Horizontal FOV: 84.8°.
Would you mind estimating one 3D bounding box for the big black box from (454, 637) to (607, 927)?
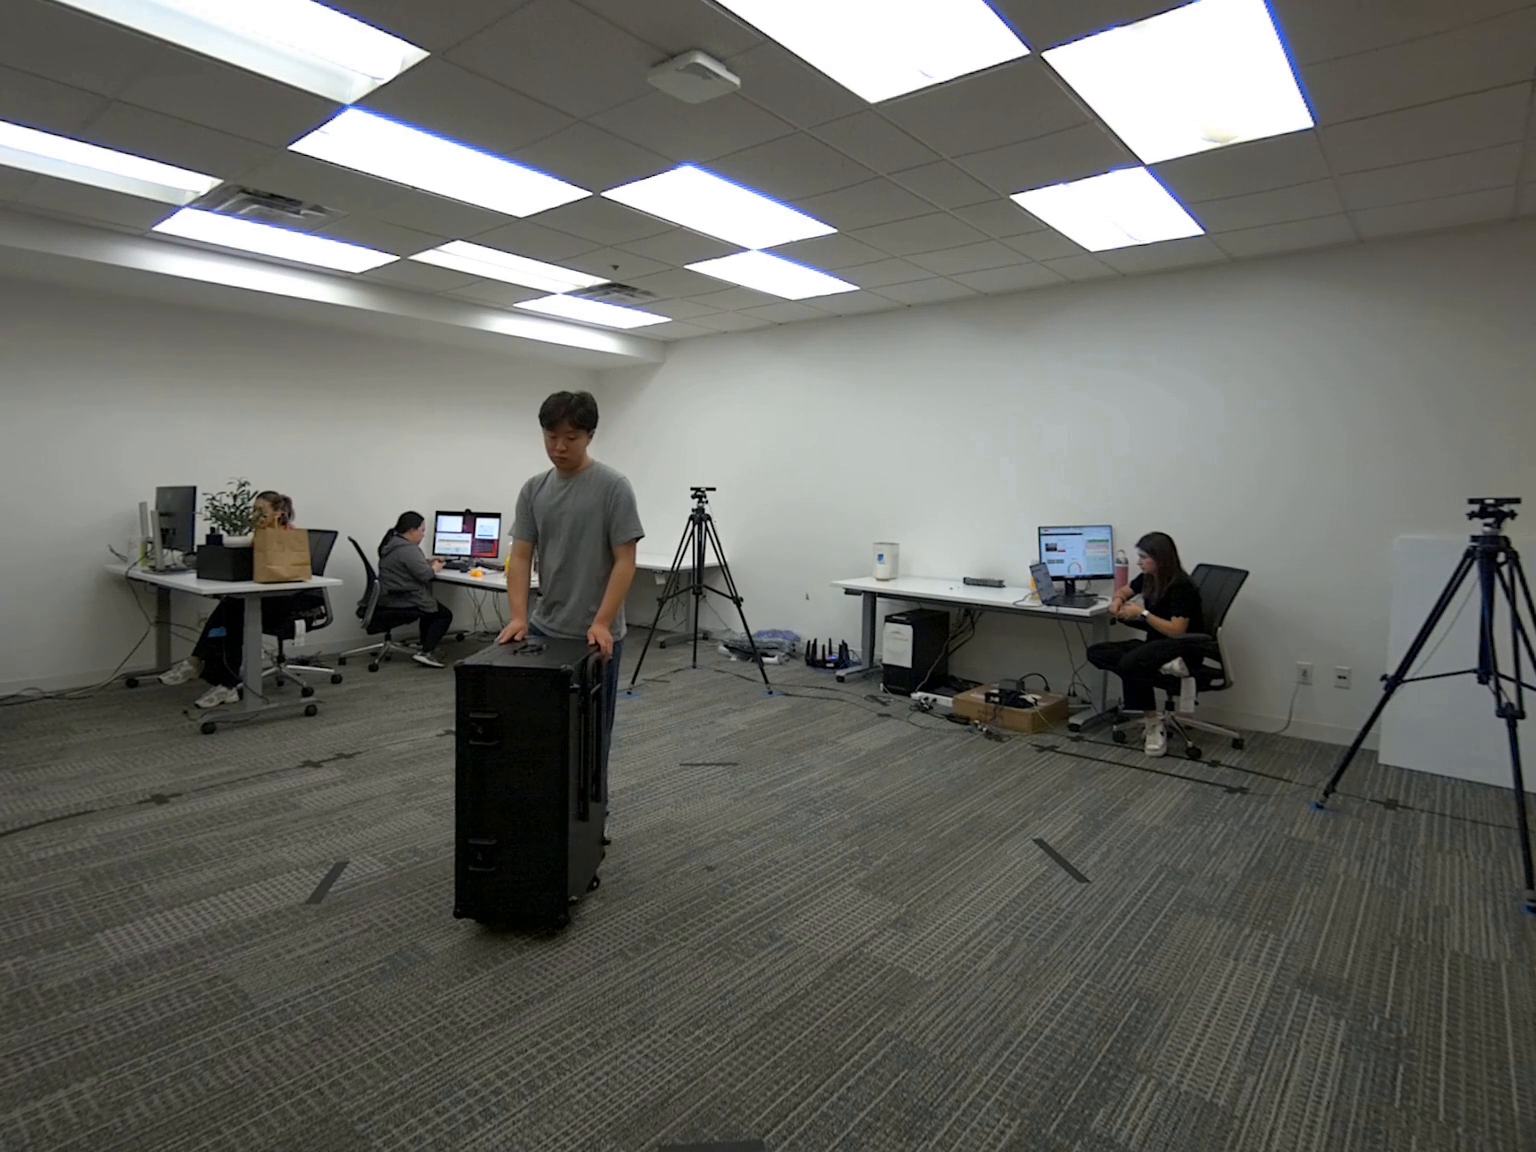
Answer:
[{"bbox_3d":[-0.761,0.671,2.780,0.399,0.858,0.520,2,4,5],"label":"big black box"}]
